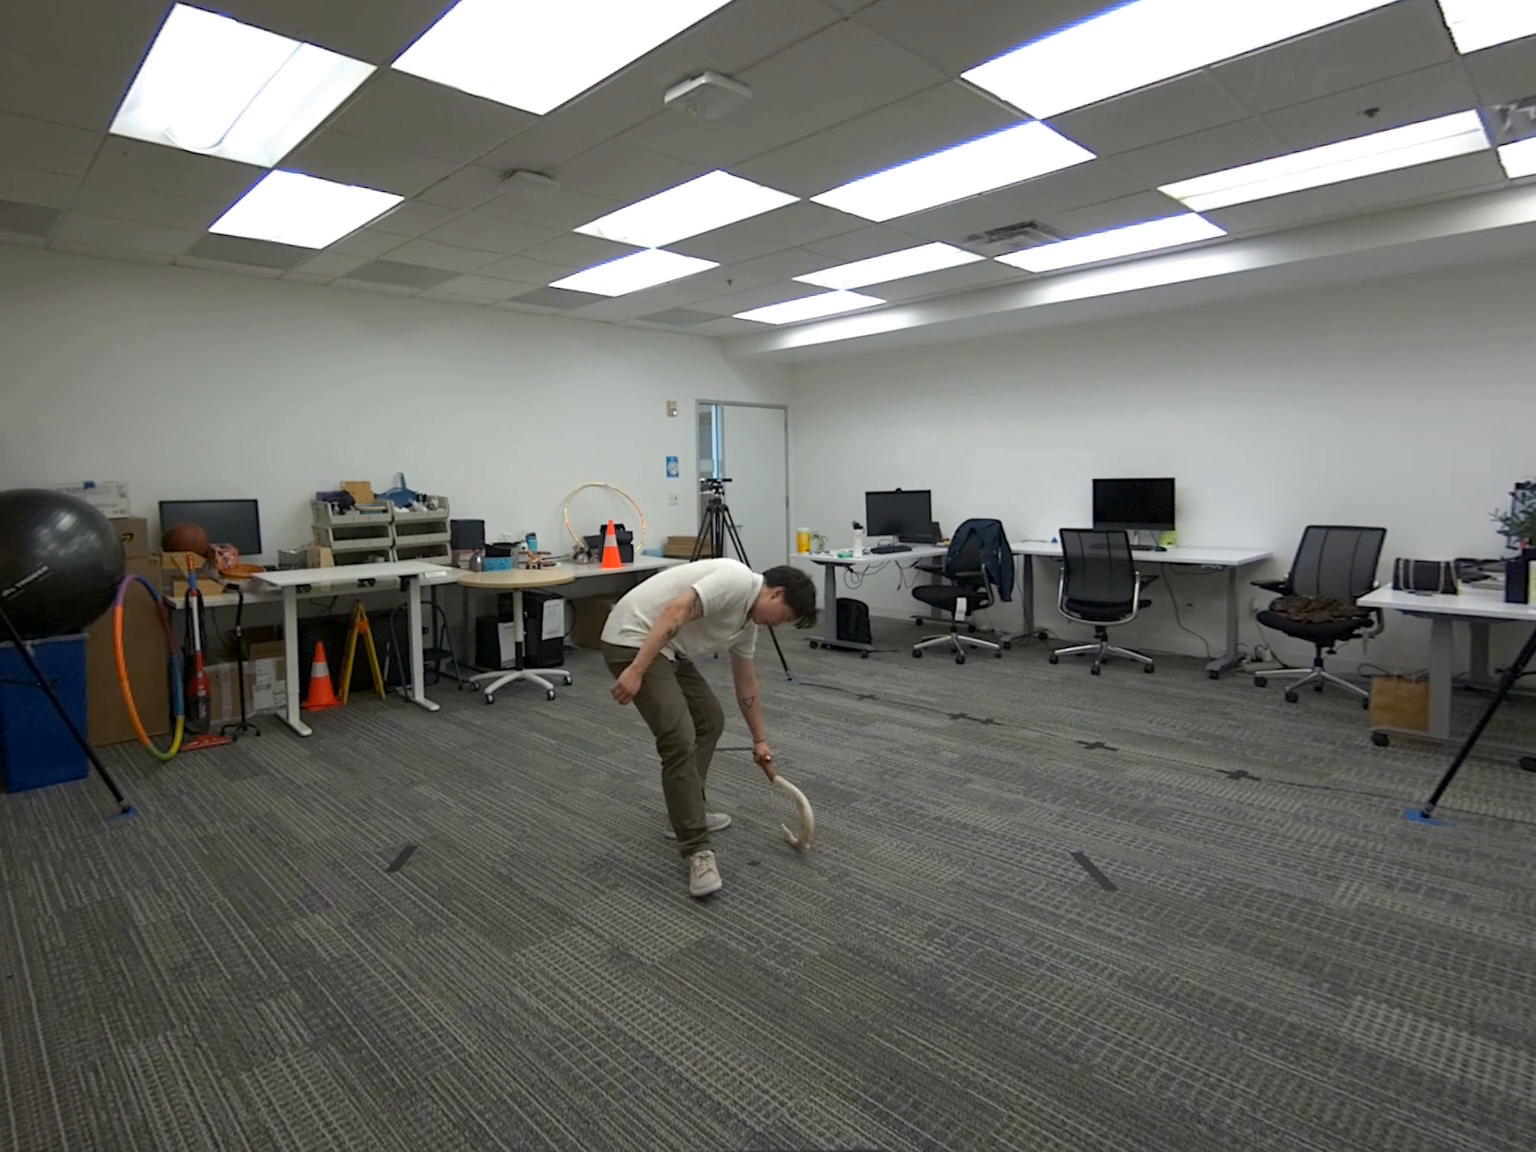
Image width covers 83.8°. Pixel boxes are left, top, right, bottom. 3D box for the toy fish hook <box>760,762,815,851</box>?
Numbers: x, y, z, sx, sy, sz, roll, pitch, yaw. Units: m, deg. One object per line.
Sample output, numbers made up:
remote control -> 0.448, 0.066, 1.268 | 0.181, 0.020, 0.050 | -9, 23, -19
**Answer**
toy fish hook -> 0.047, 0.874, 3.355 | 0.047, 0.222, 0.524 | 6, 18, -27
